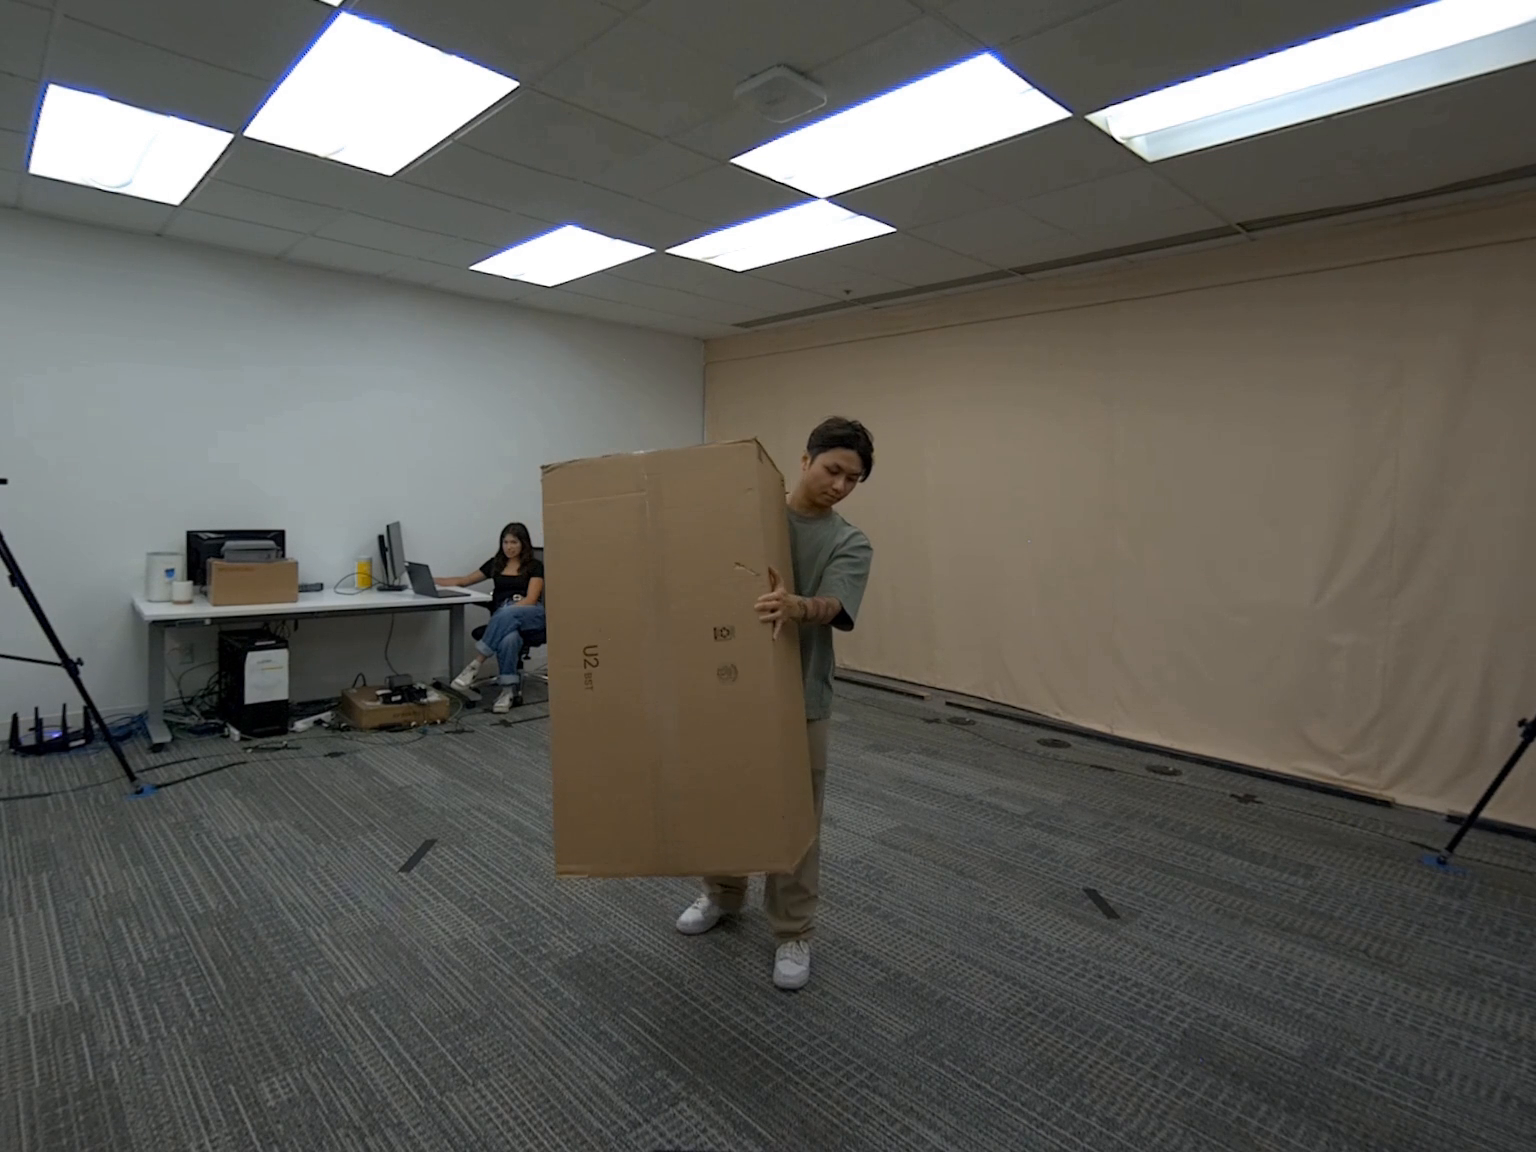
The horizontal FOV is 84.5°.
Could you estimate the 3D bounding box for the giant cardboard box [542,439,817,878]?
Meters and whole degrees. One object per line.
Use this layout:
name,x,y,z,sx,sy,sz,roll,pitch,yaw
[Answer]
giant cardboard box,-0.237,0.223,2.224,0.582,1.034,0.419,-7,-10,11
